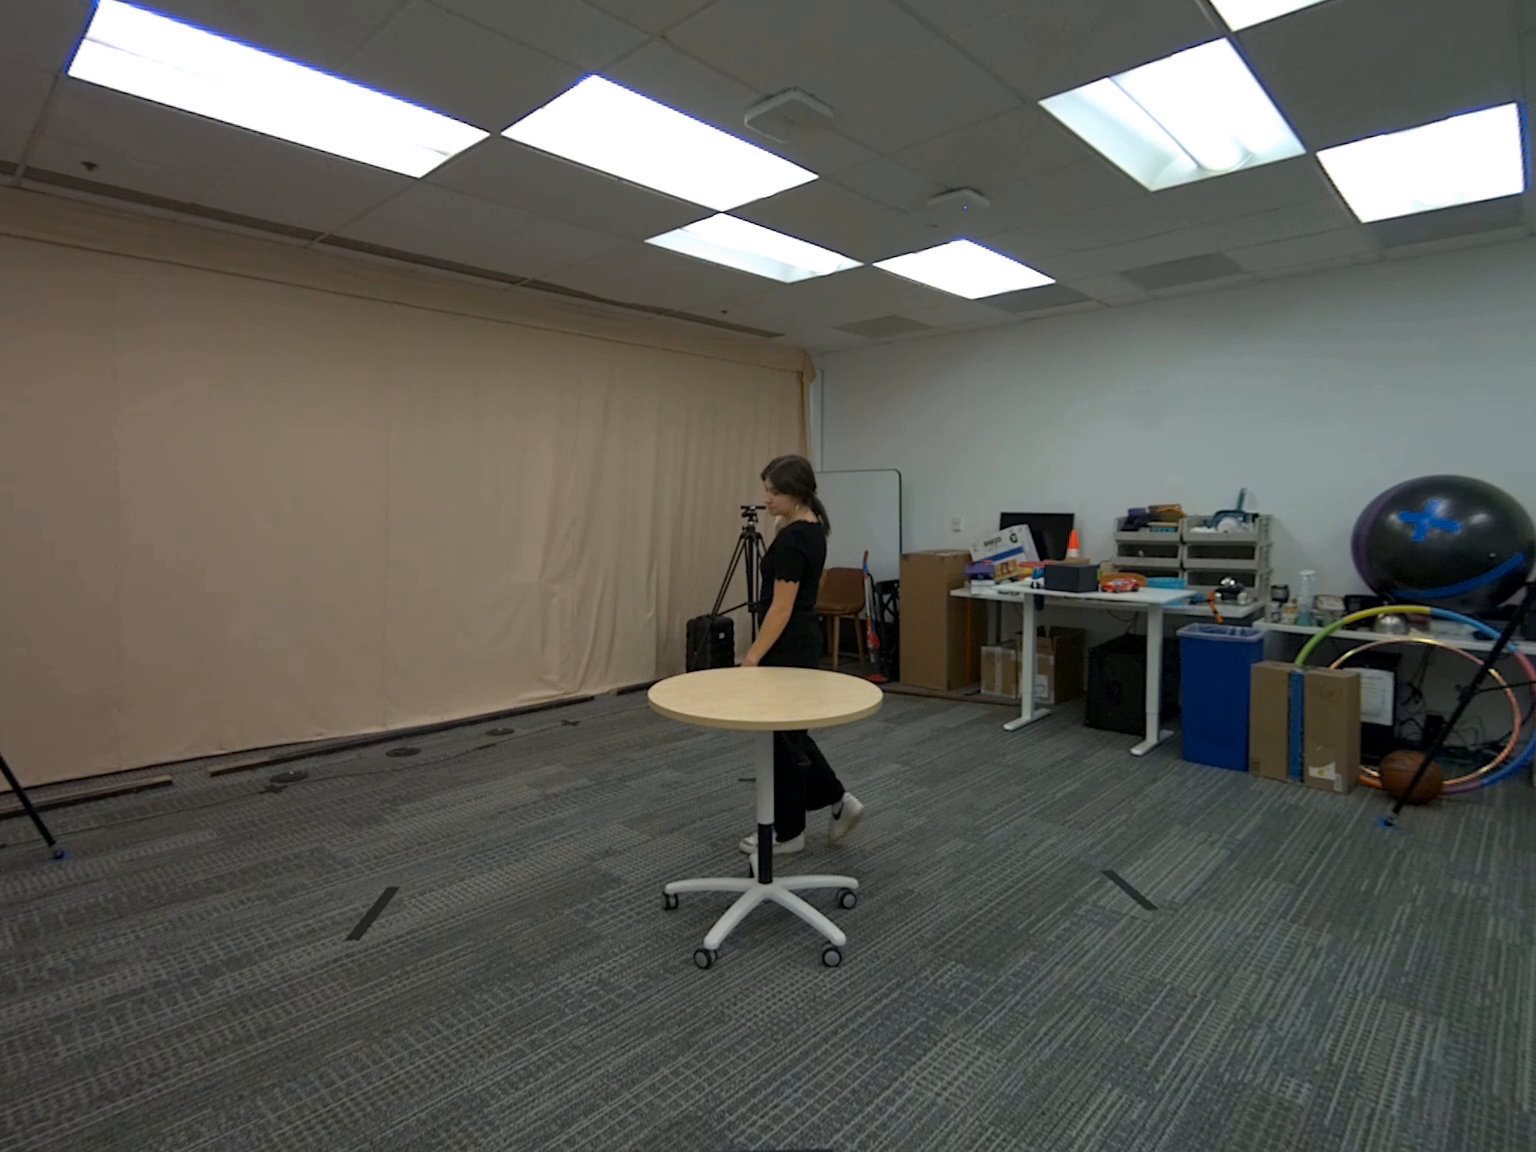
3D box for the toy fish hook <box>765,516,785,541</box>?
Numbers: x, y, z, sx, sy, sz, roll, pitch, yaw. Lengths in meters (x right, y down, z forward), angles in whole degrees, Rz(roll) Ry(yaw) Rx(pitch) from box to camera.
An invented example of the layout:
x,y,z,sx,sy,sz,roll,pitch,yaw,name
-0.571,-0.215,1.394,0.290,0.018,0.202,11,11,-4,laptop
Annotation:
x,y,z,sx,sy,sz,roll,pitch,yaw,name
0.161,-0.037,3.472,0.228,0.503,0.048,-4,8,16,toy fish hook
